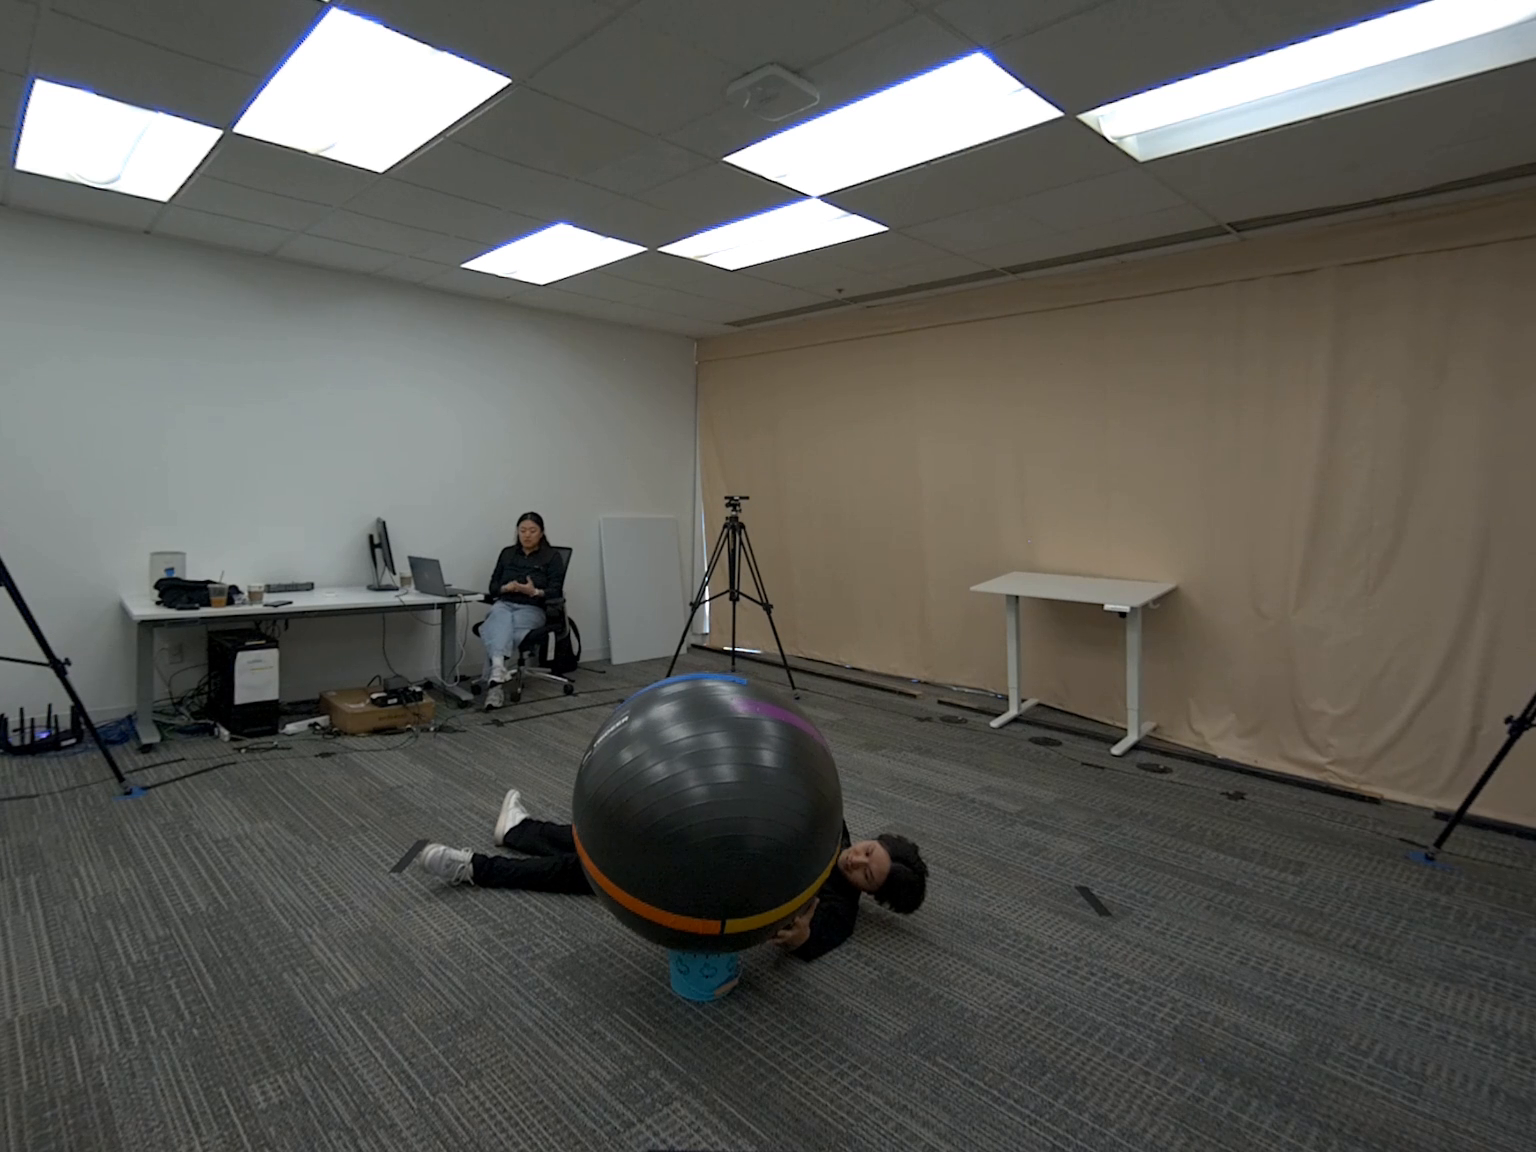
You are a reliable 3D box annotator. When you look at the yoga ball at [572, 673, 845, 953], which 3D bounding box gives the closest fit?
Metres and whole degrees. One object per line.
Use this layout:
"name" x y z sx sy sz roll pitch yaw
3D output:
"yoga ball" -0.173 0.661 2.391 0.757 0.756 0.761 1 4 -1
